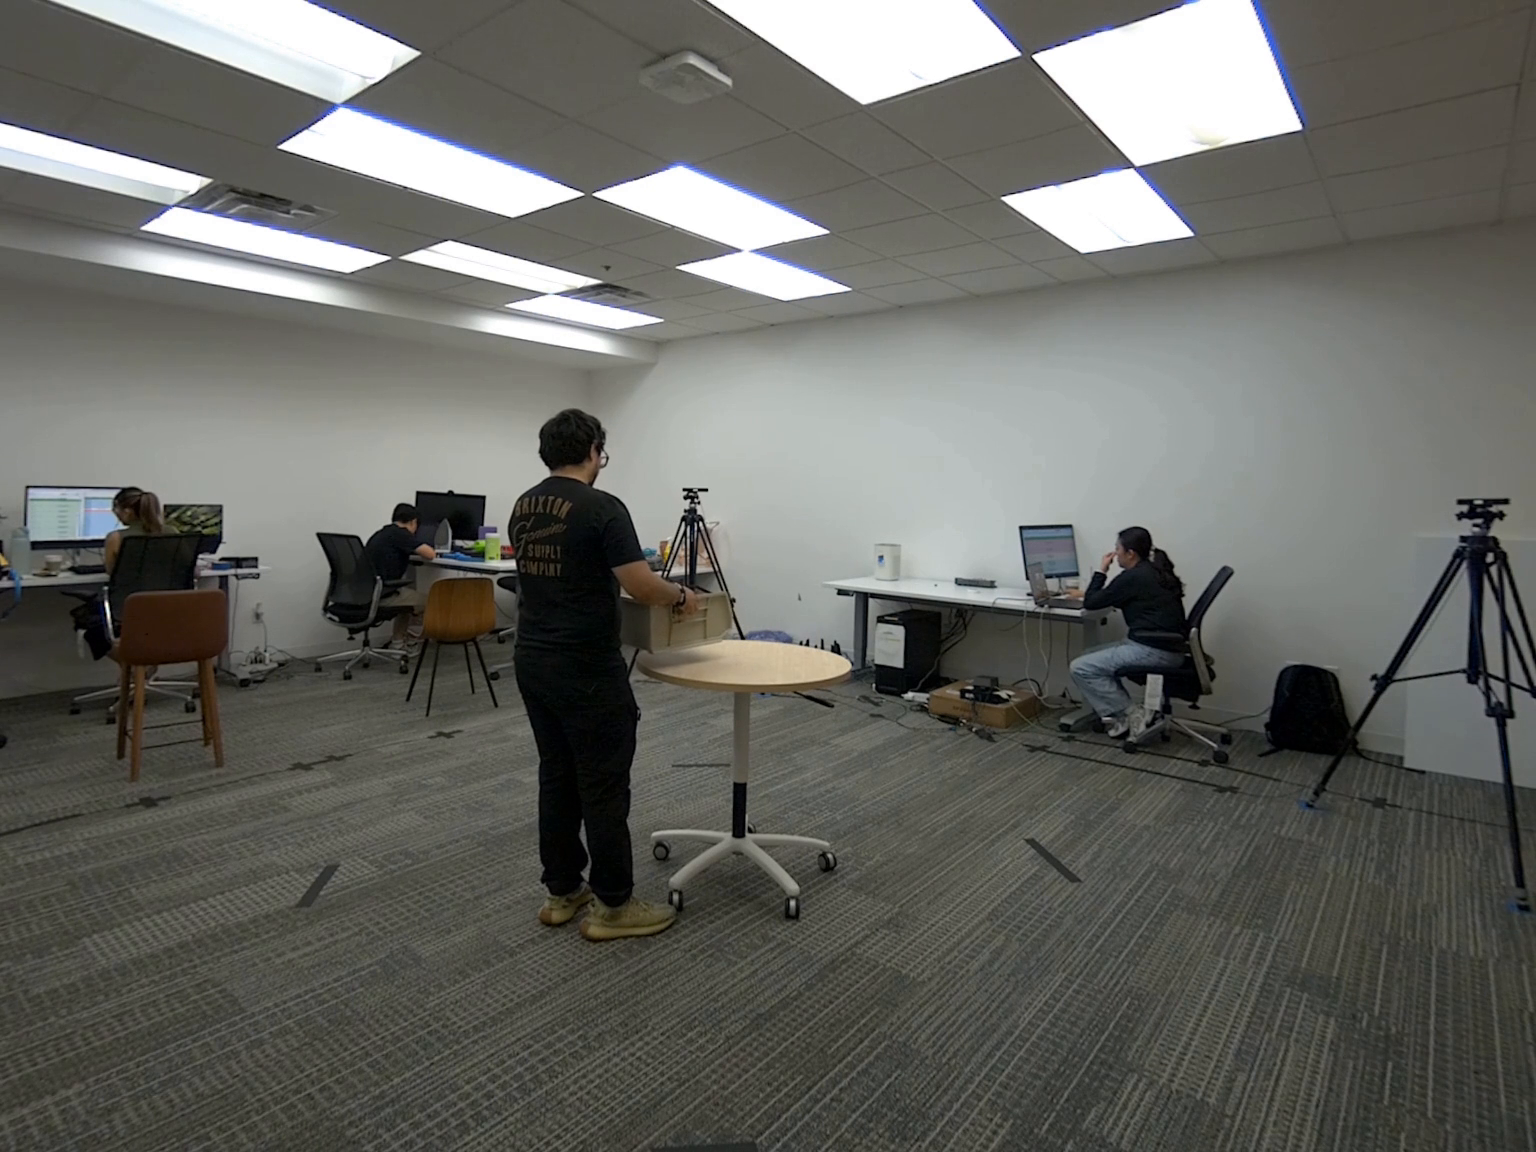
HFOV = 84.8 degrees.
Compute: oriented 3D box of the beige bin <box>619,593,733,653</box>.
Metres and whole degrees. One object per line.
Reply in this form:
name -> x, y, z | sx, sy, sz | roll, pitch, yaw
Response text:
beige bin -> -0.413, 0.136, 3.055 | 0.366, 0.188, 0.437 | -6, 10, -44
